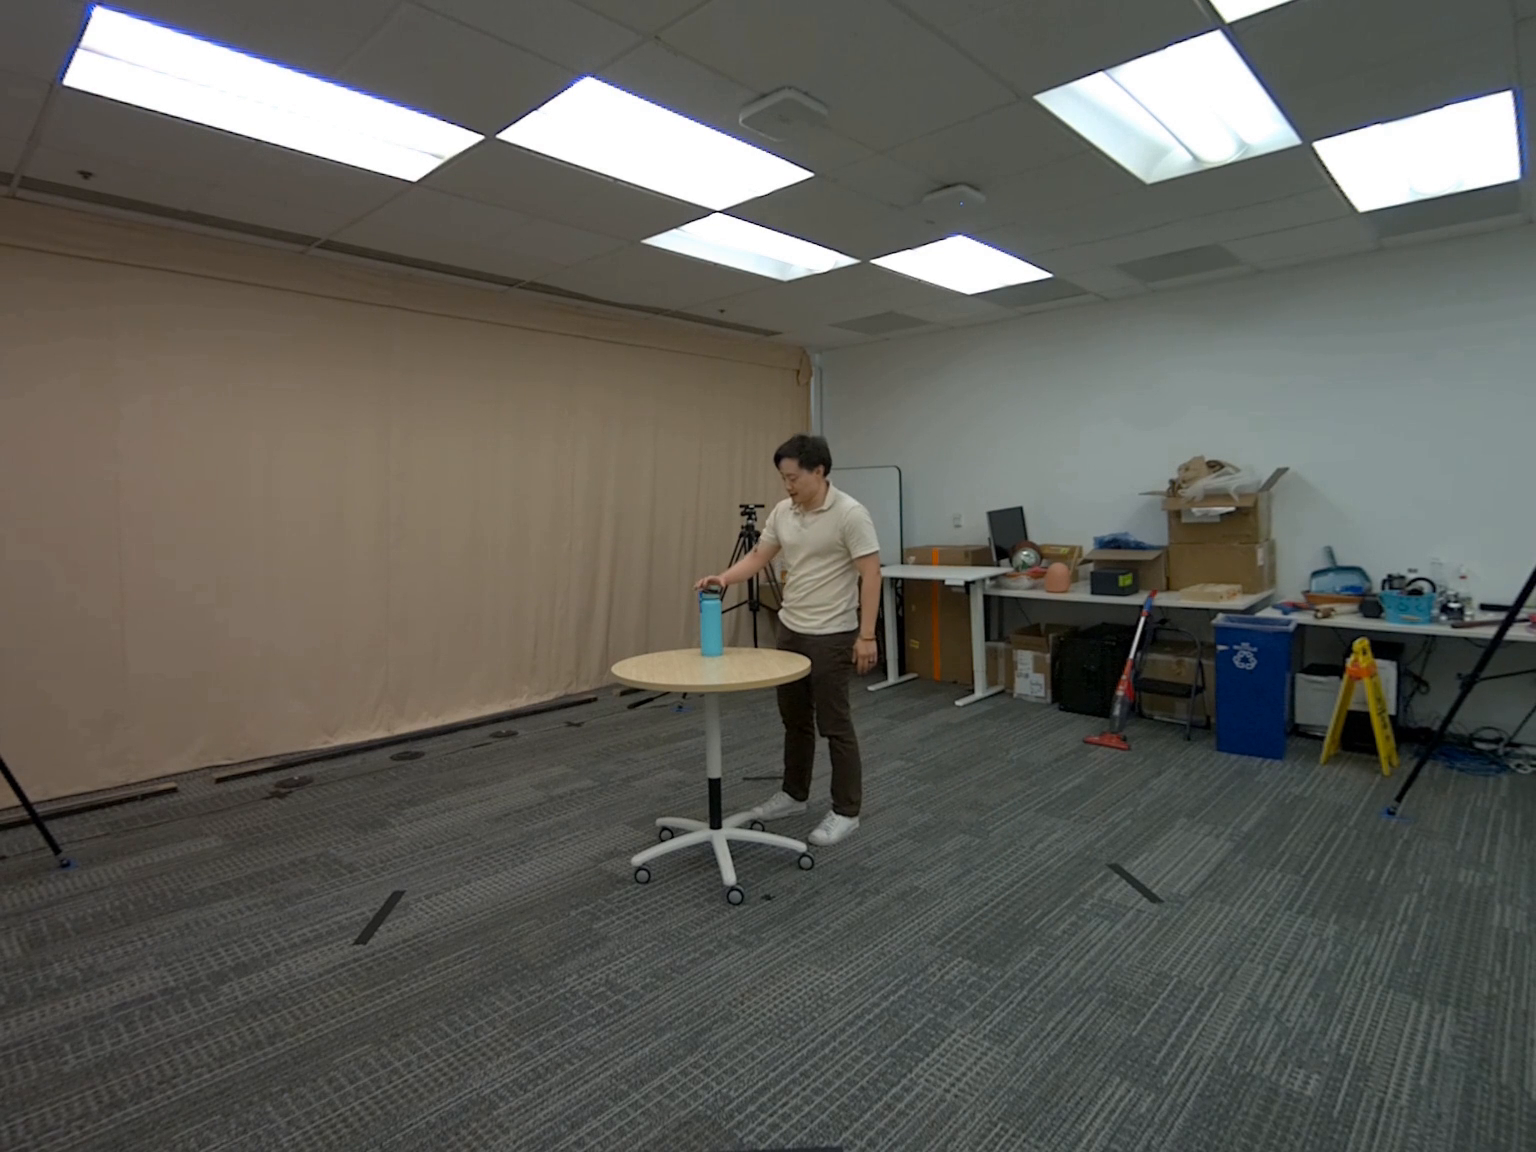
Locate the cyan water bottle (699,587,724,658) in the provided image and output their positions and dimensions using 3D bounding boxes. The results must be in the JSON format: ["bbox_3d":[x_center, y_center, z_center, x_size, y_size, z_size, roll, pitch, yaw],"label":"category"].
[{"bbox_3d":[-0.233,0.183,3.454,0.092,0.283,0.092,-1,3,-2],"label":"cyan water bottle"}]
